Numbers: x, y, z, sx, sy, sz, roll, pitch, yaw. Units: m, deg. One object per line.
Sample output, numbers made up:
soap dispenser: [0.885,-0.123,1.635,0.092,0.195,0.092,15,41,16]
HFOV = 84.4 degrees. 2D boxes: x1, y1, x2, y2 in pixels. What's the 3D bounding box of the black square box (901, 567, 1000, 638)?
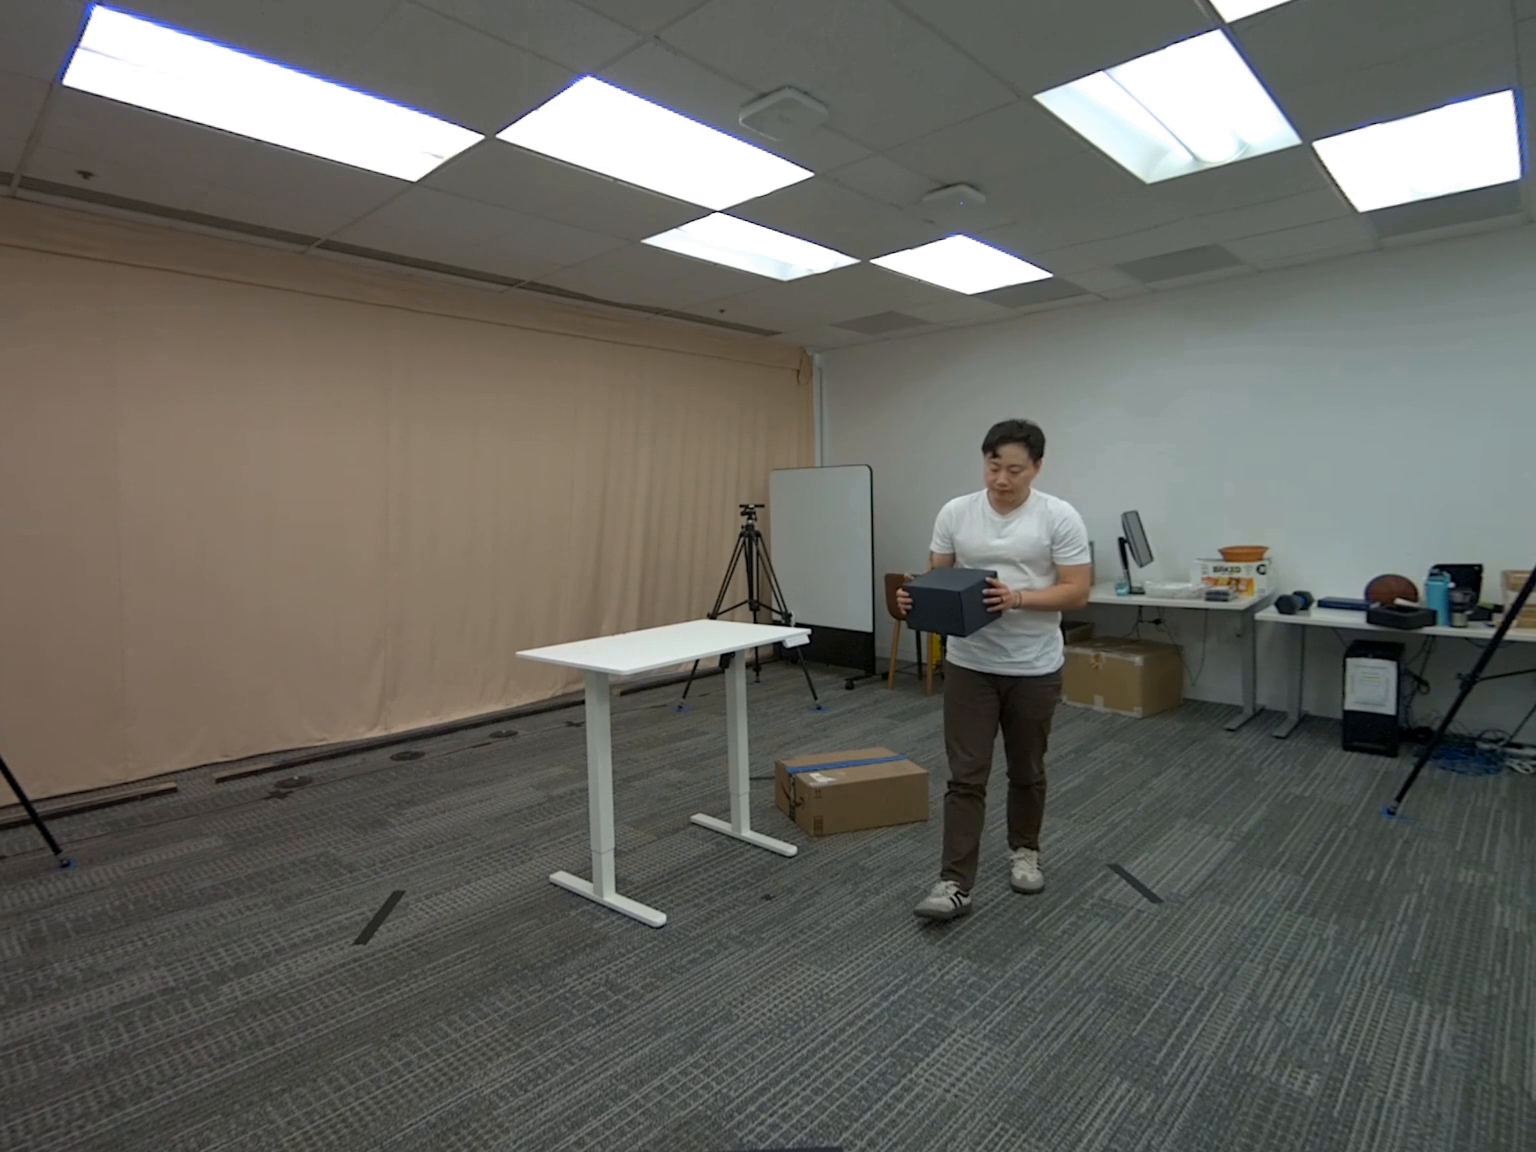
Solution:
black square box: [0.595,0.079,2.741,0.212,0.154,0.235,-21,18,-40]
